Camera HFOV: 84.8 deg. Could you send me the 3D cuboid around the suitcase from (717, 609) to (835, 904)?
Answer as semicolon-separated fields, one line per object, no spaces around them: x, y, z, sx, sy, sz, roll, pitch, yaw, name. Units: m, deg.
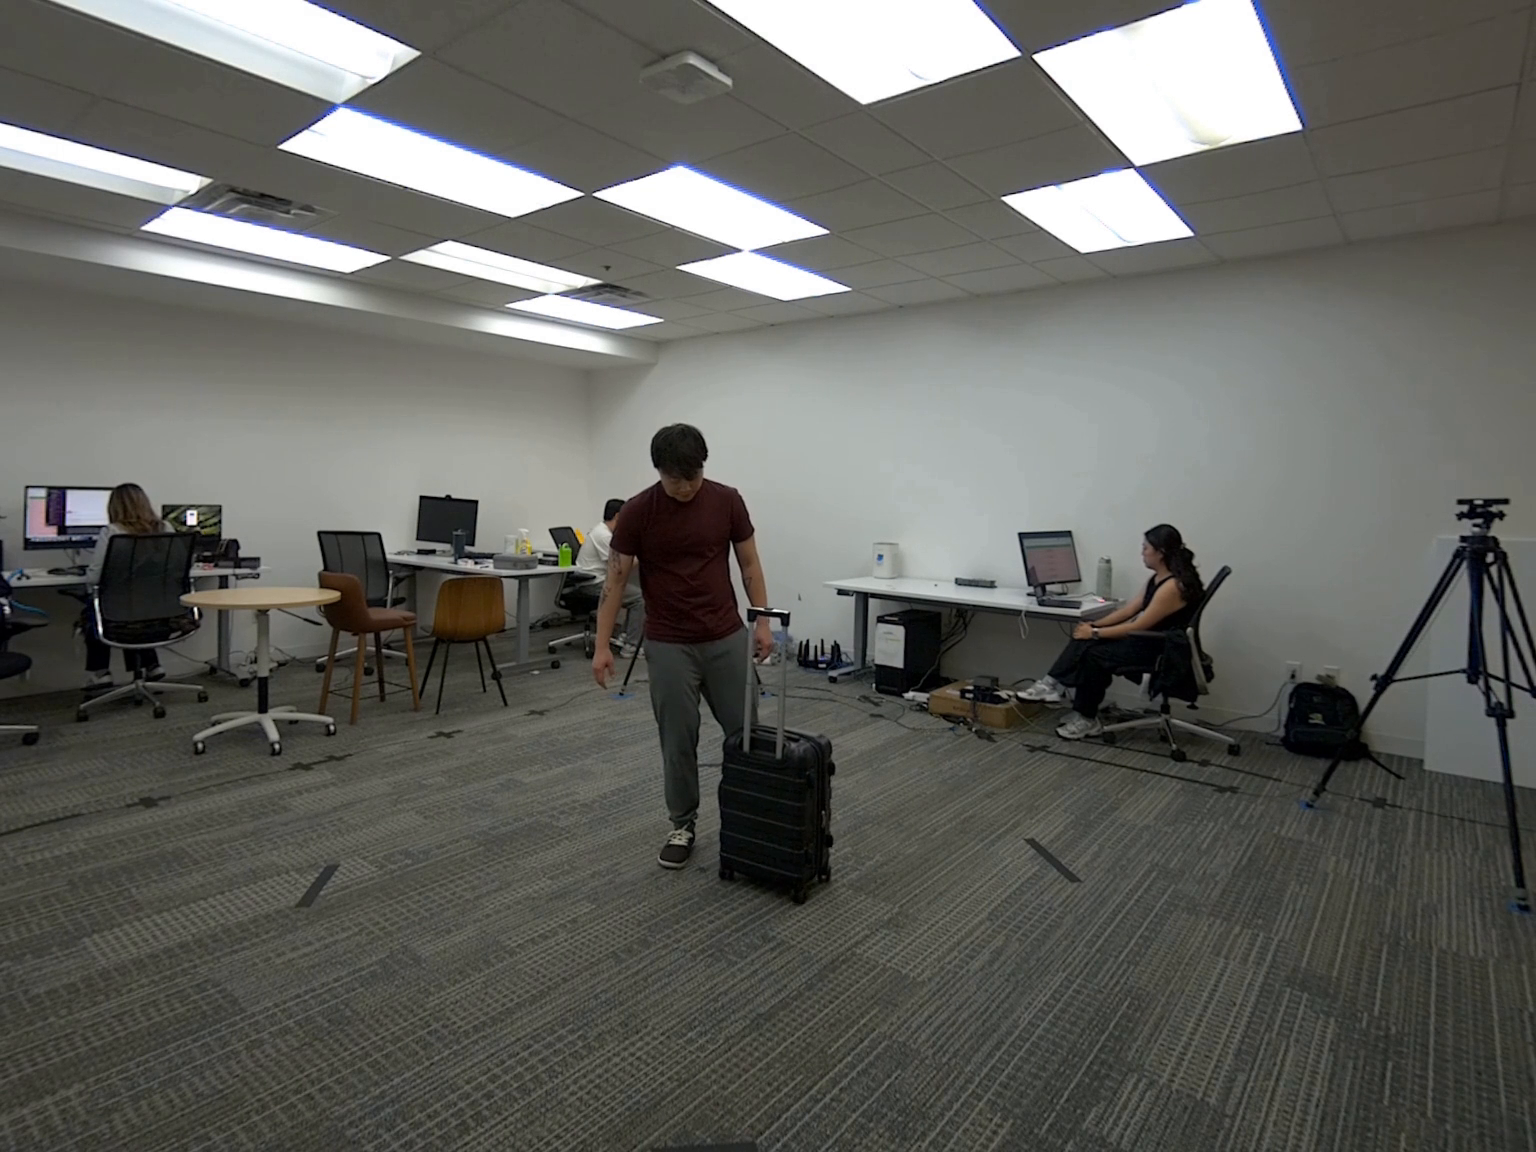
0.031;0.604;3.001;0.396;0.976;0.250;4;3;32;suitcase
